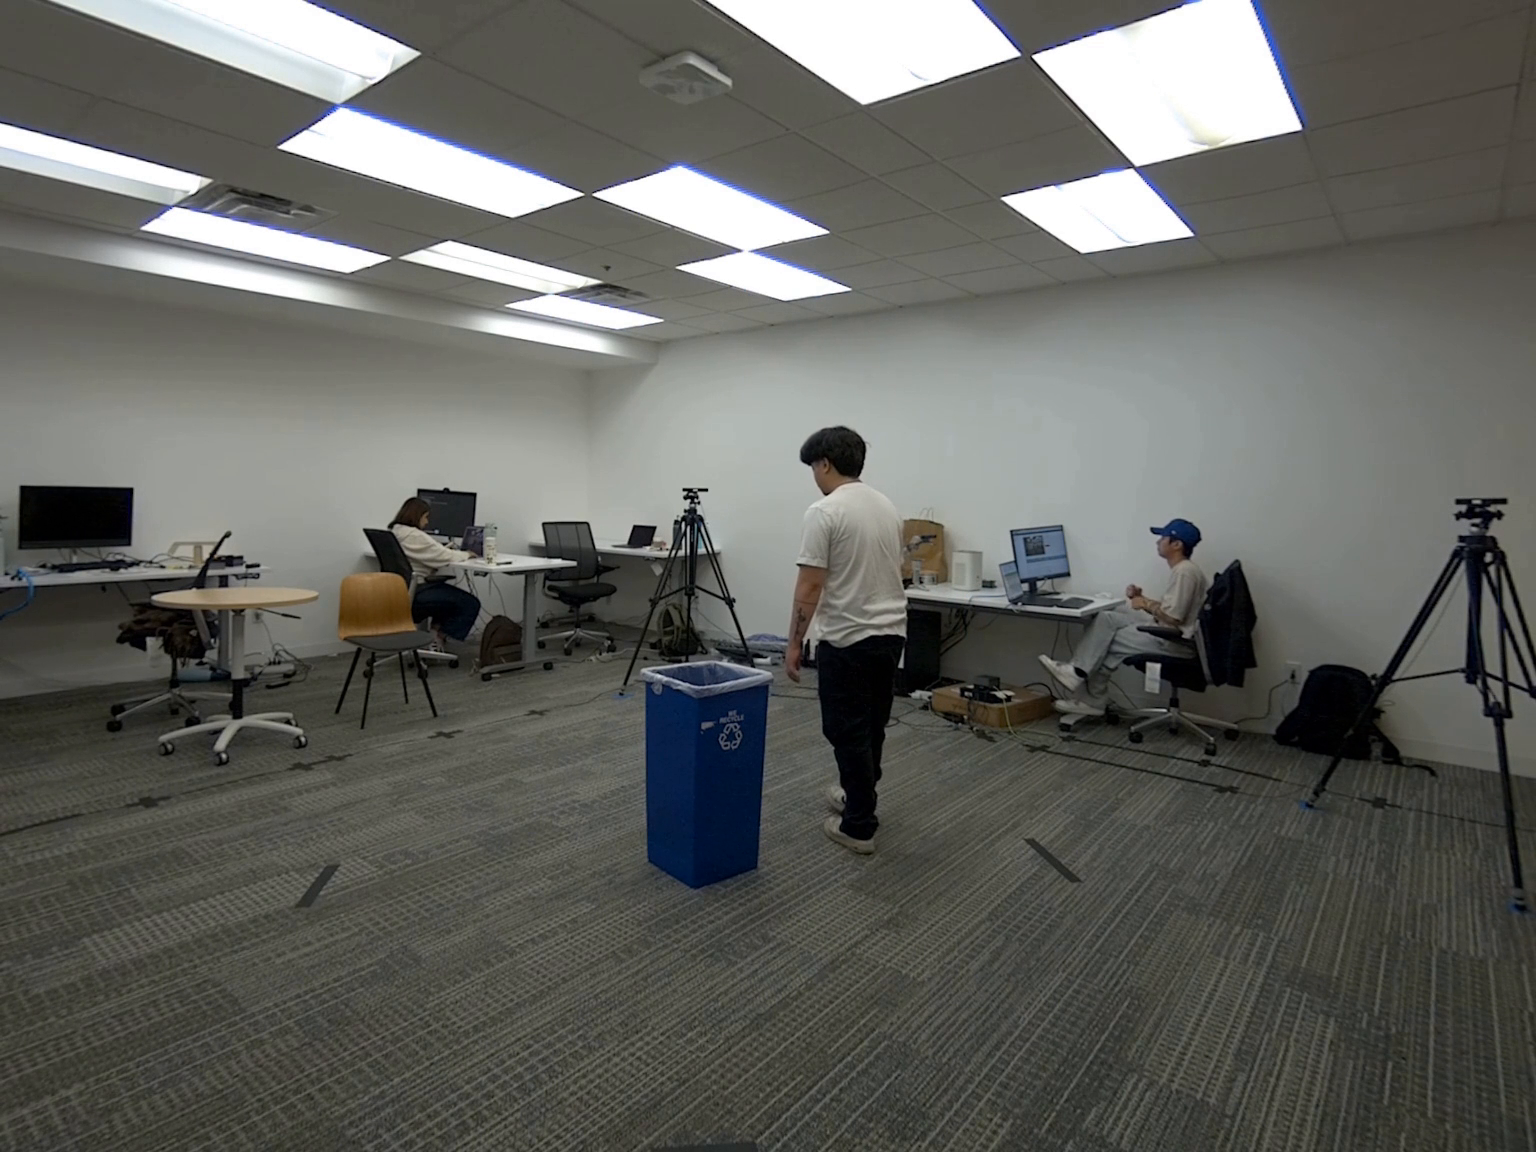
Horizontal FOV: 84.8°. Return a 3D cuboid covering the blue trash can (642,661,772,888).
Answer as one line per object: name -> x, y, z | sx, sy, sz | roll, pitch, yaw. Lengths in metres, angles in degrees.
blue trash can -> -0.241, 0.707, 3.144 | 0.363, 0.711, 0.391 | -2, 4, -41
